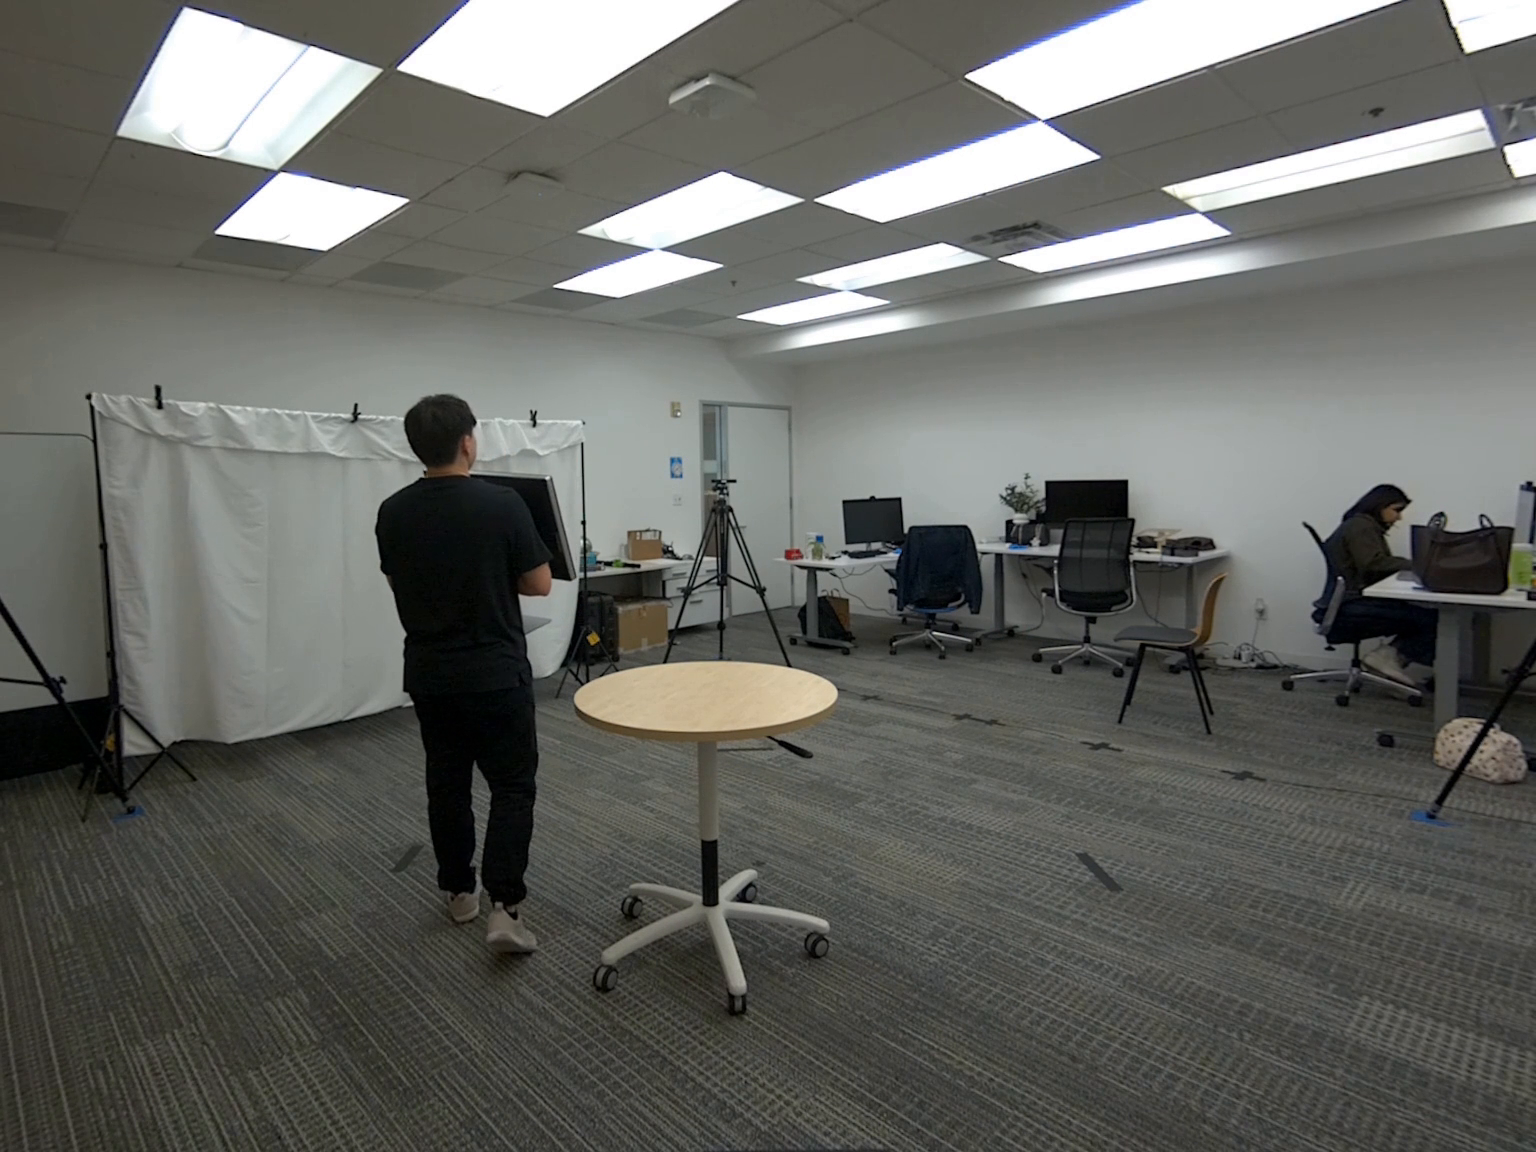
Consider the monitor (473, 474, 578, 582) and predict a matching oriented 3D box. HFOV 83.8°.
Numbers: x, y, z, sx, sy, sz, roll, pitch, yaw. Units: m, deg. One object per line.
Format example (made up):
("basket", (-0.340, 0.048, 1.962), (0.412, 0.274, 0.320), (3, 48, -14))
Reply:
("monitor", (-0.897, -0.079, 2.839), (0.554, 0.515, 0.184), (6, 17, 29))
